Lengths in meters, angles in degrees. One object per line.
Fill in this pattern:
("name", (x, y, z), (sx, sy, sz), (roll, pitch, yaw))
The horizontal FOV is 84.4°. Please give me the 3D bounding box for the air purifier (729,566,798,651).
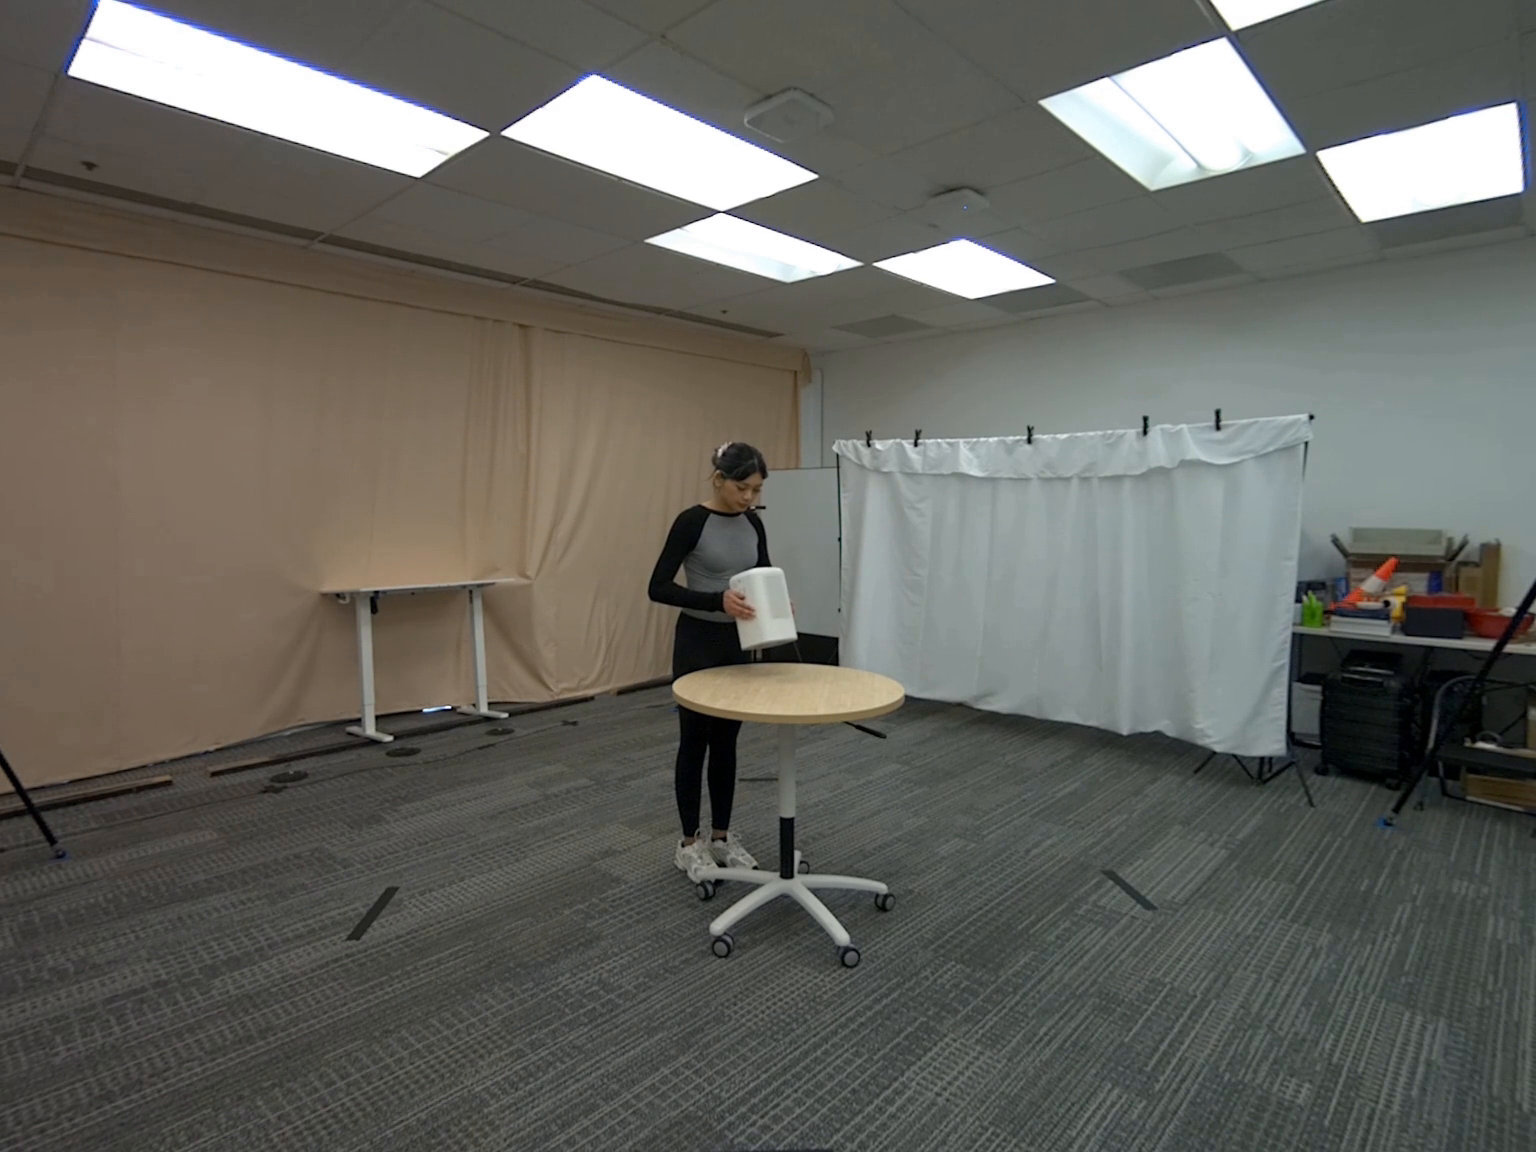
("air purifier", (-0.015, 0.114, 2.974), (0.166, 0.268, 0.175), (-1, -15, -43))
